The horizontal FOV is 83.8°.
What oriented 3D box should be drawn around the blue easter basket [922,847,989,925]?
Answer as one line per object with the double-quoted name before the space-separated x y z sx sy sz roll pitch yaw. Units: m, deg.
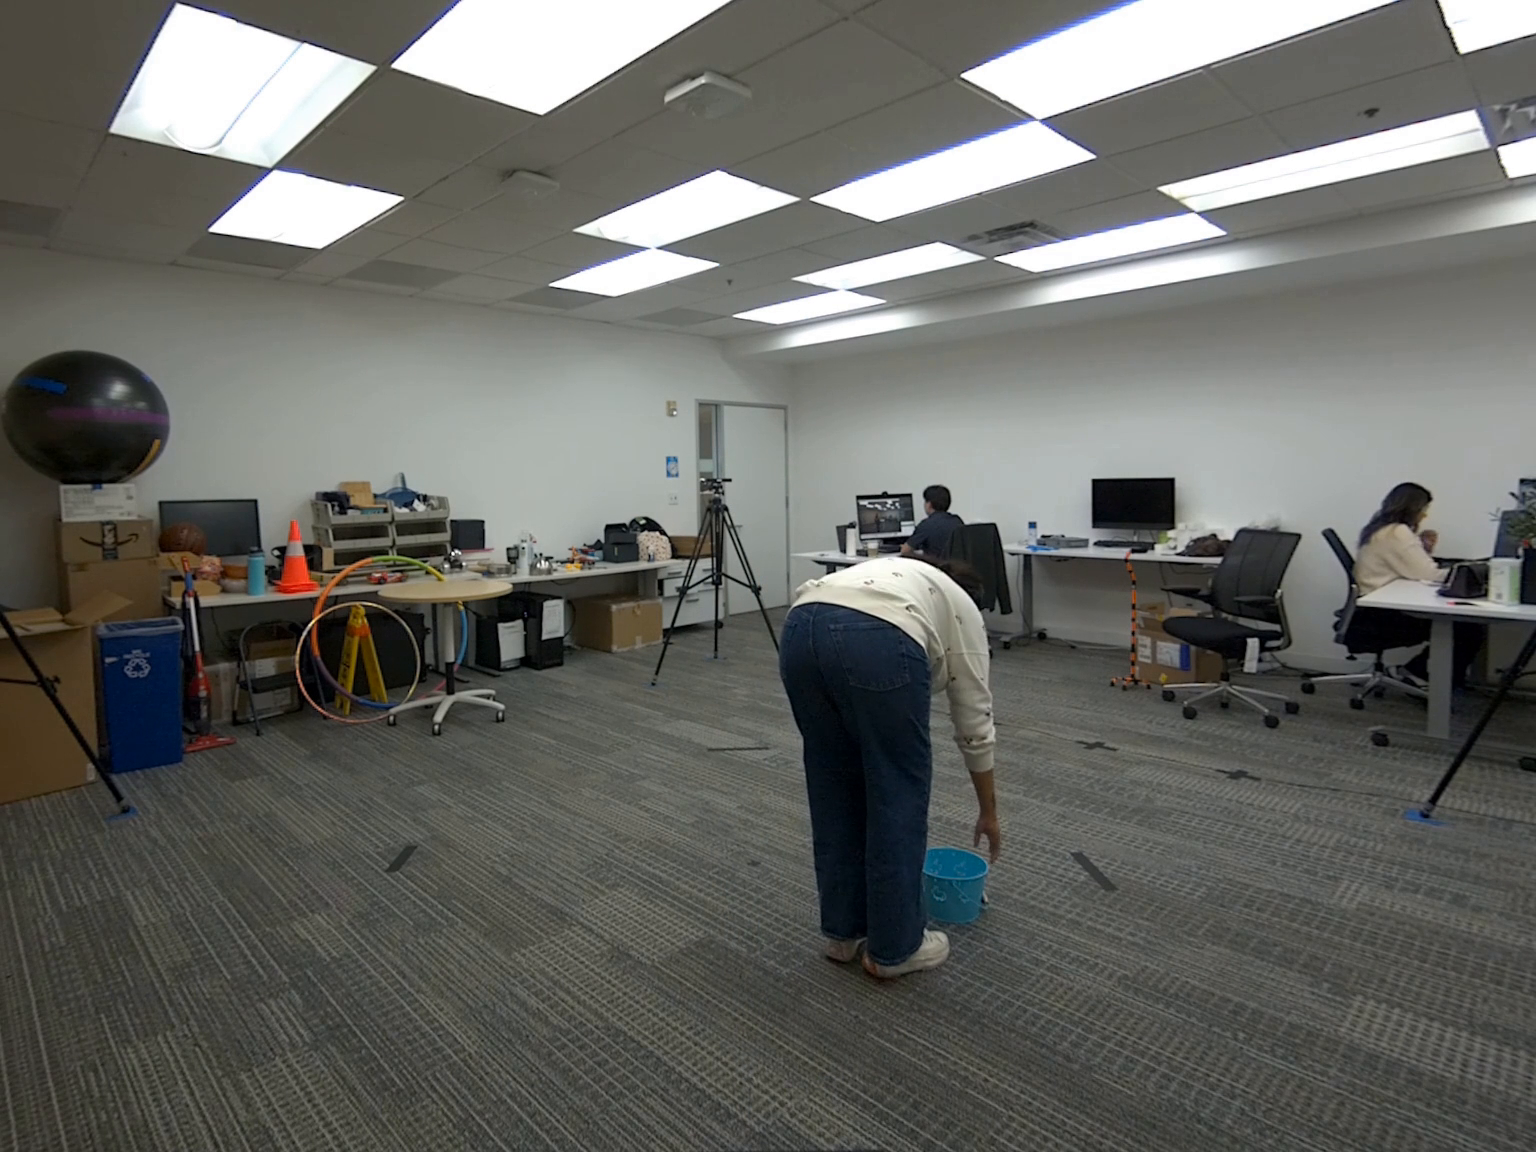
"blue easter basket" 0.593 0.998 2.744 0.243 0.155 0.245 -1 5 -2
